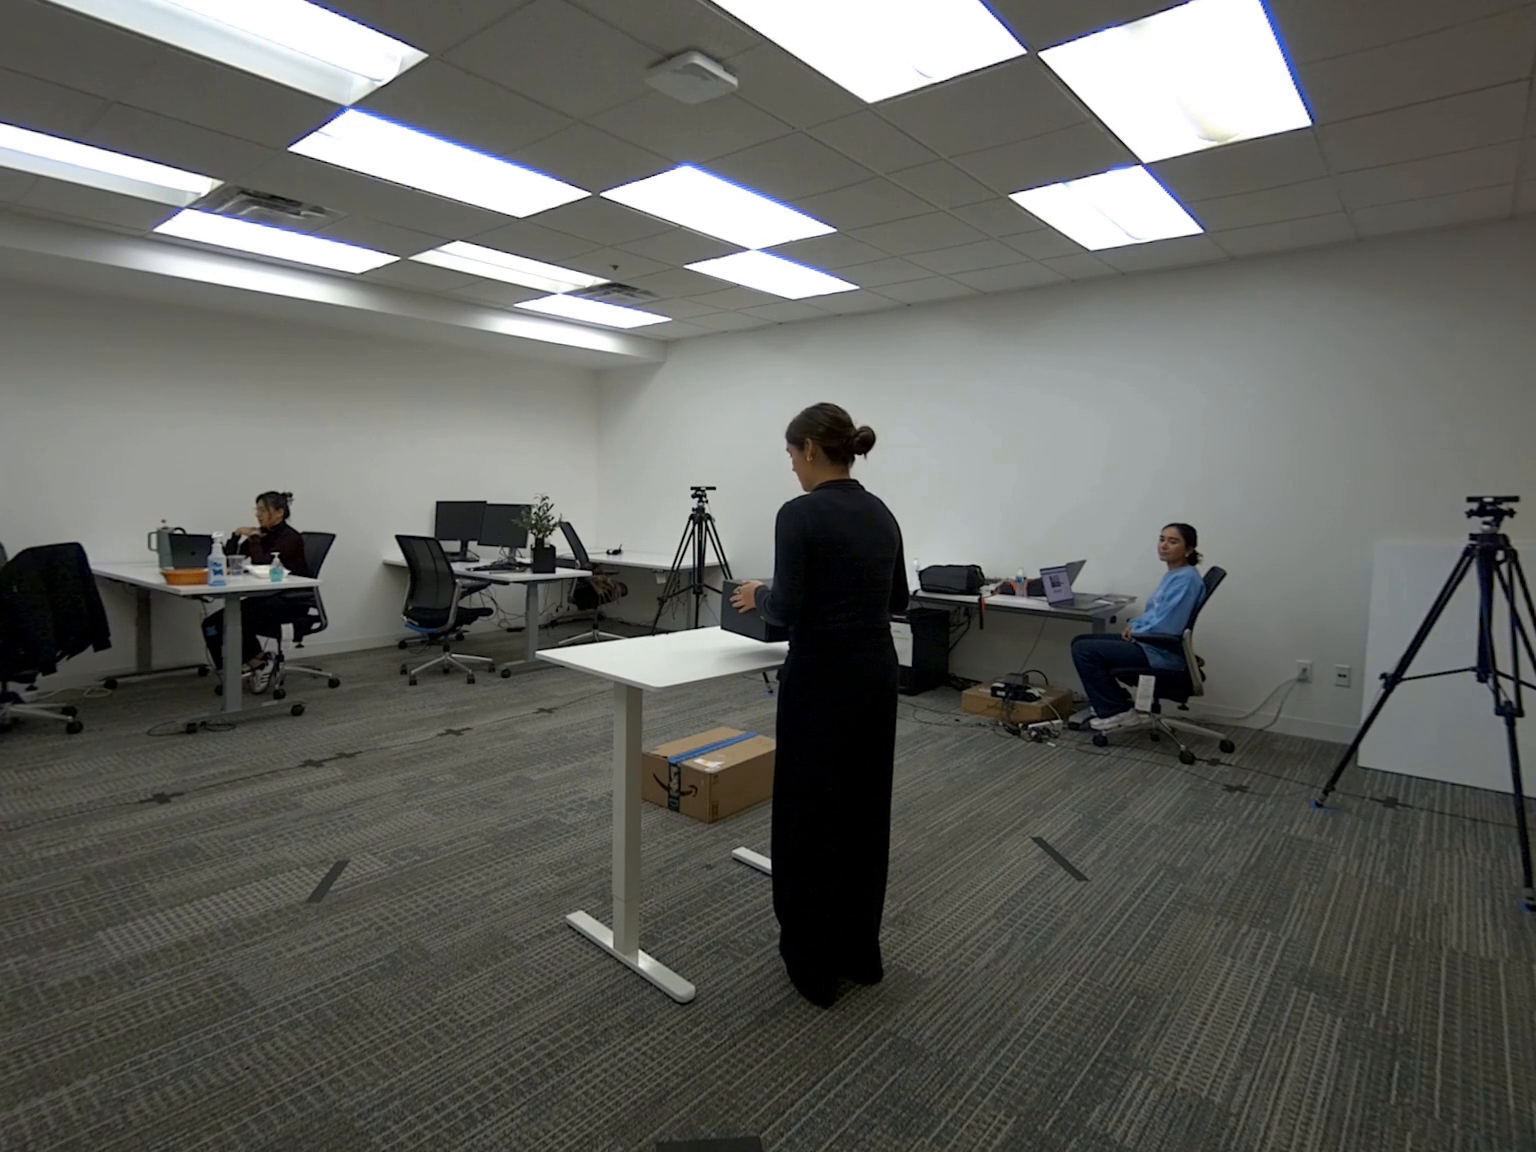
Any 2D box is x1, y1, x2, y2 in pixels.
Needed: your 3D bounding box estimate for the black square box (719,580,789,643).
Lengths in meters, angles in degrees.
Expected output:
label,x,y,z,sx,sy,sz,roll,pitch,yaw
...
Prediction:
label,x,y,z,sx,sy,sz,roll,pitch,yaw
black square box,-0.005,0.100,2.607,0.221,0.155,0.225,-1,8,-41
